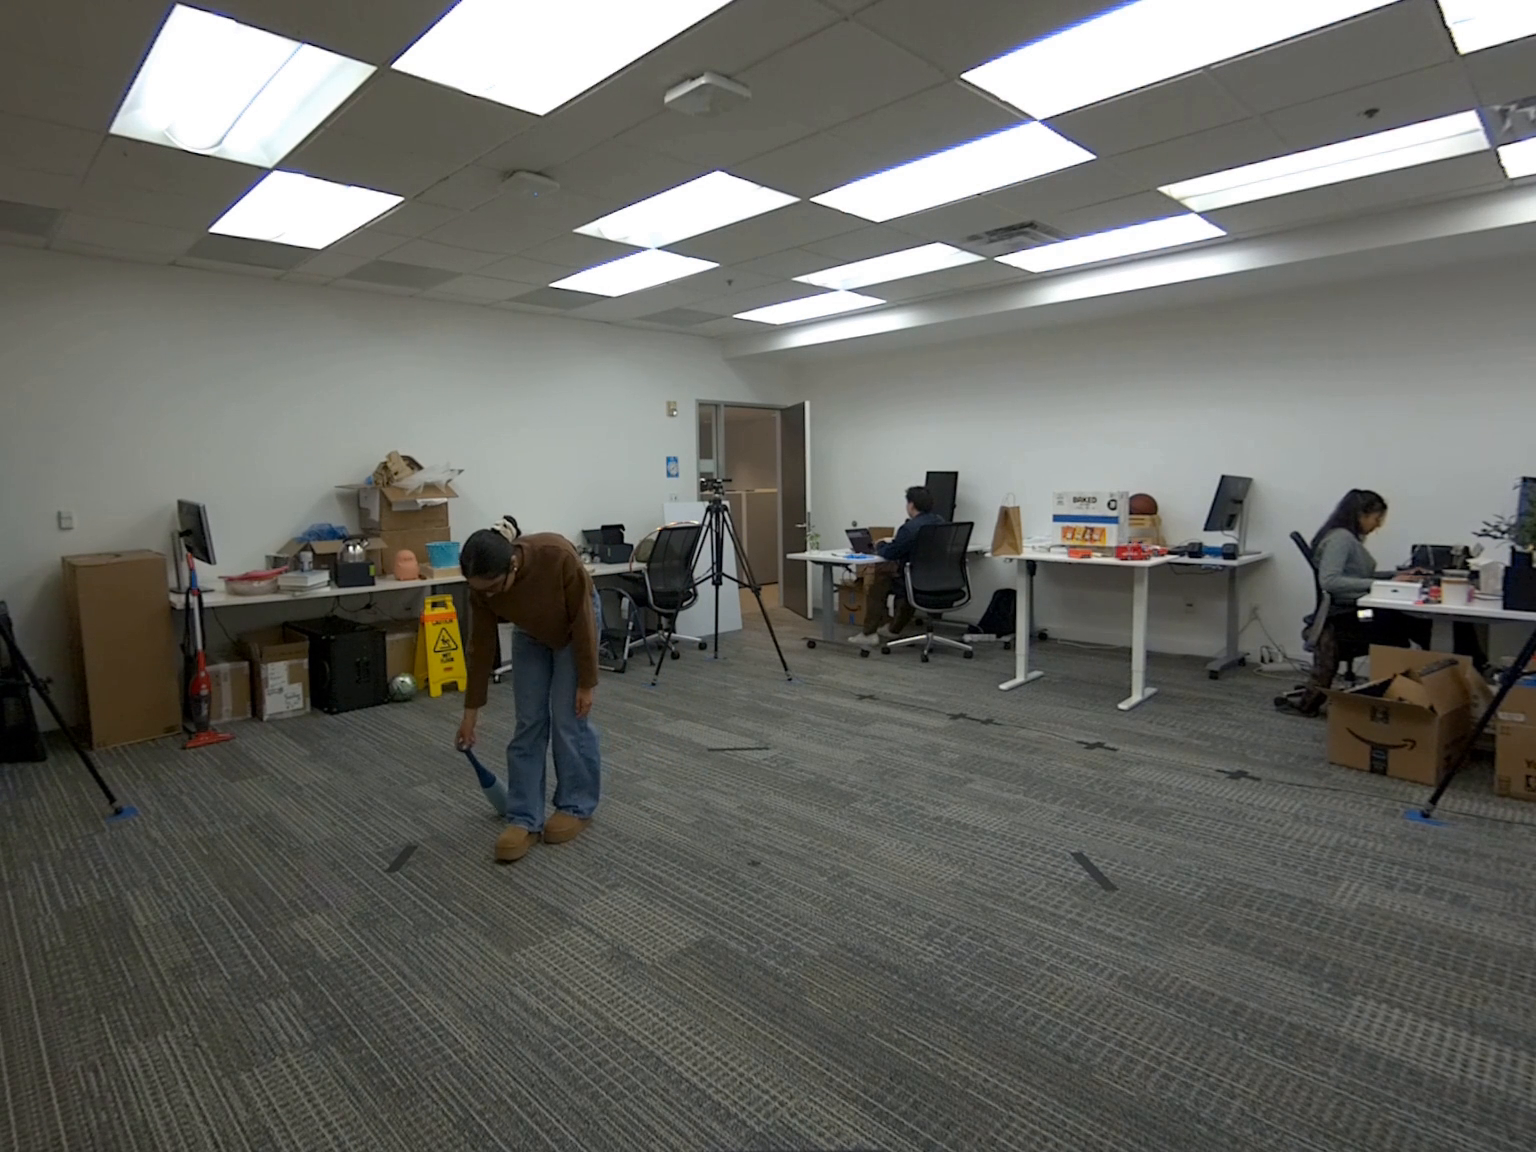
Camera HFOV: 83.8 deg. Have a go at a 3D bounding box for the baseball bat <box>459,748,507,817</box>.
[{"bbox_3d":[-1.130,0.816,3.438,0.089,0.091,0.526,-5,-41,4],"label":"baseball bat"}]
